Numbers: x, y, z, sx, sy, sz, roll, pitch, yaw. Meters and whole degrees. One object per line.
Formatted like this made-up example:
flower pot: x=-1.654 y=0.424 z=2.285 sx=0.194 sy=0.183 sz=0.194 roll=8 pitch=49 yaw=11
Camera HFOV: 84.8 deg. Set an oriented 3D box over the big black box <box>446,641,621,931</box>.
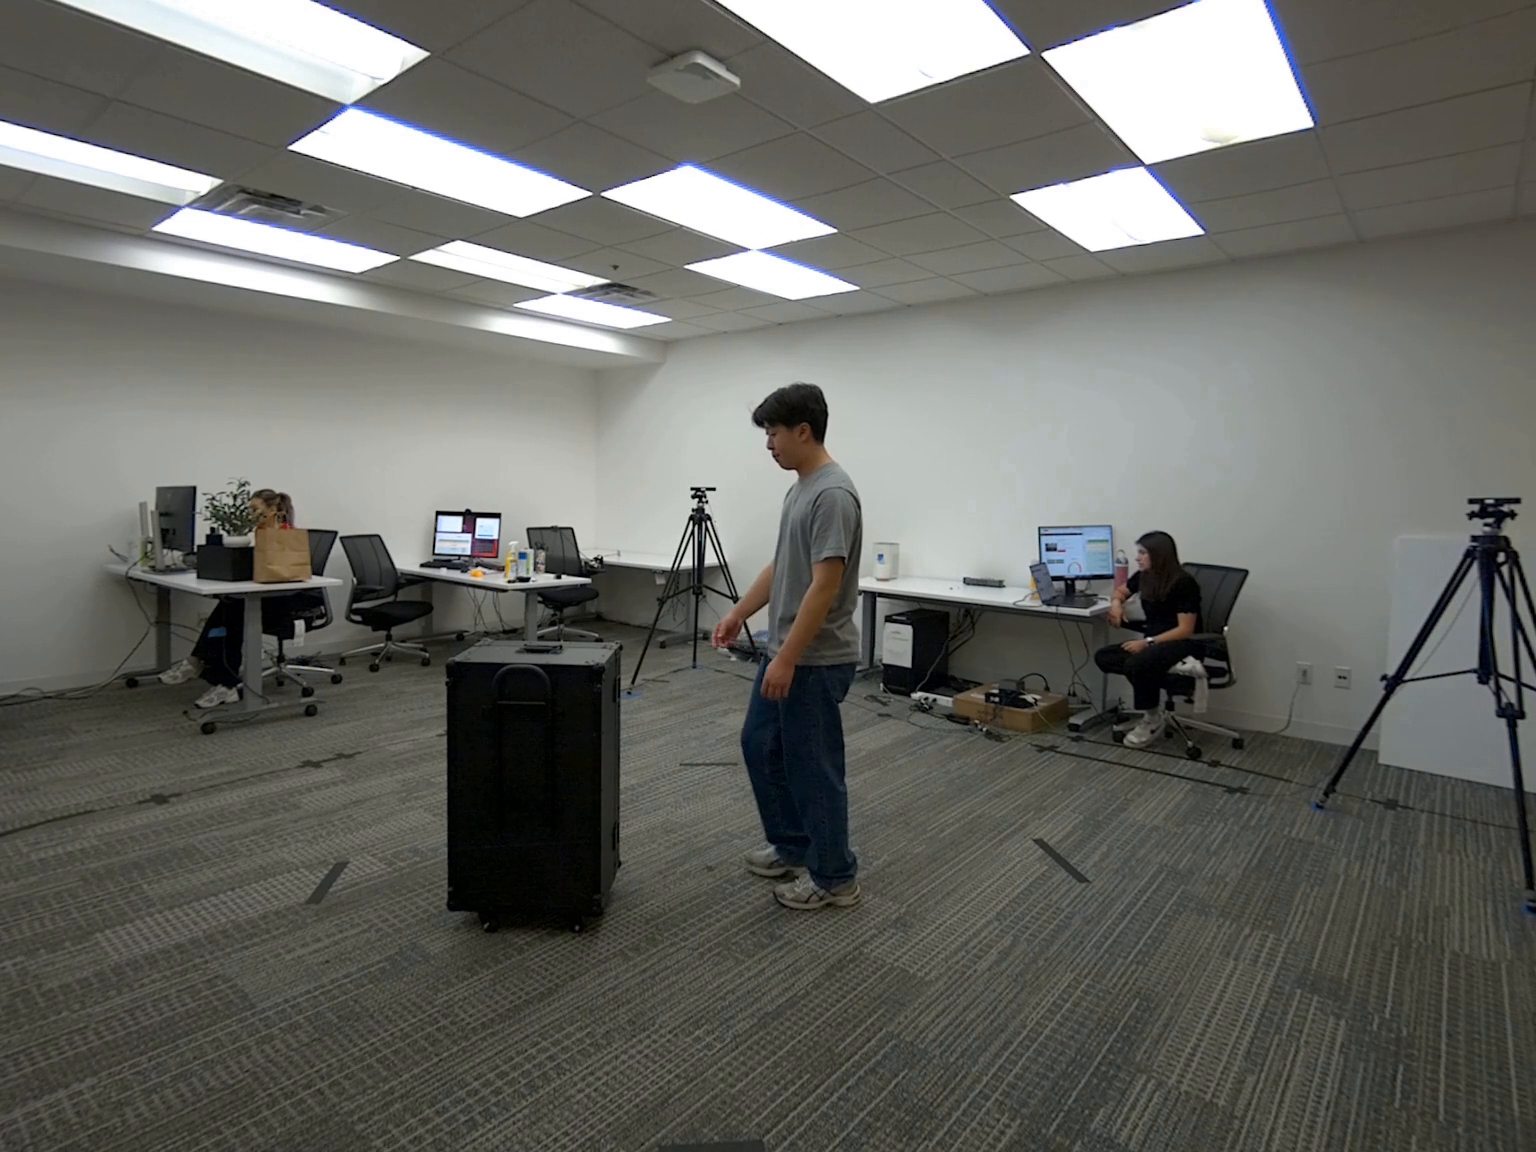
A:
big black box: x=-0.752 y=0.665 z=2.758 sx=0.523 sy=0.858 sz=0.397 roll=1 pitch=4 yaw=2
